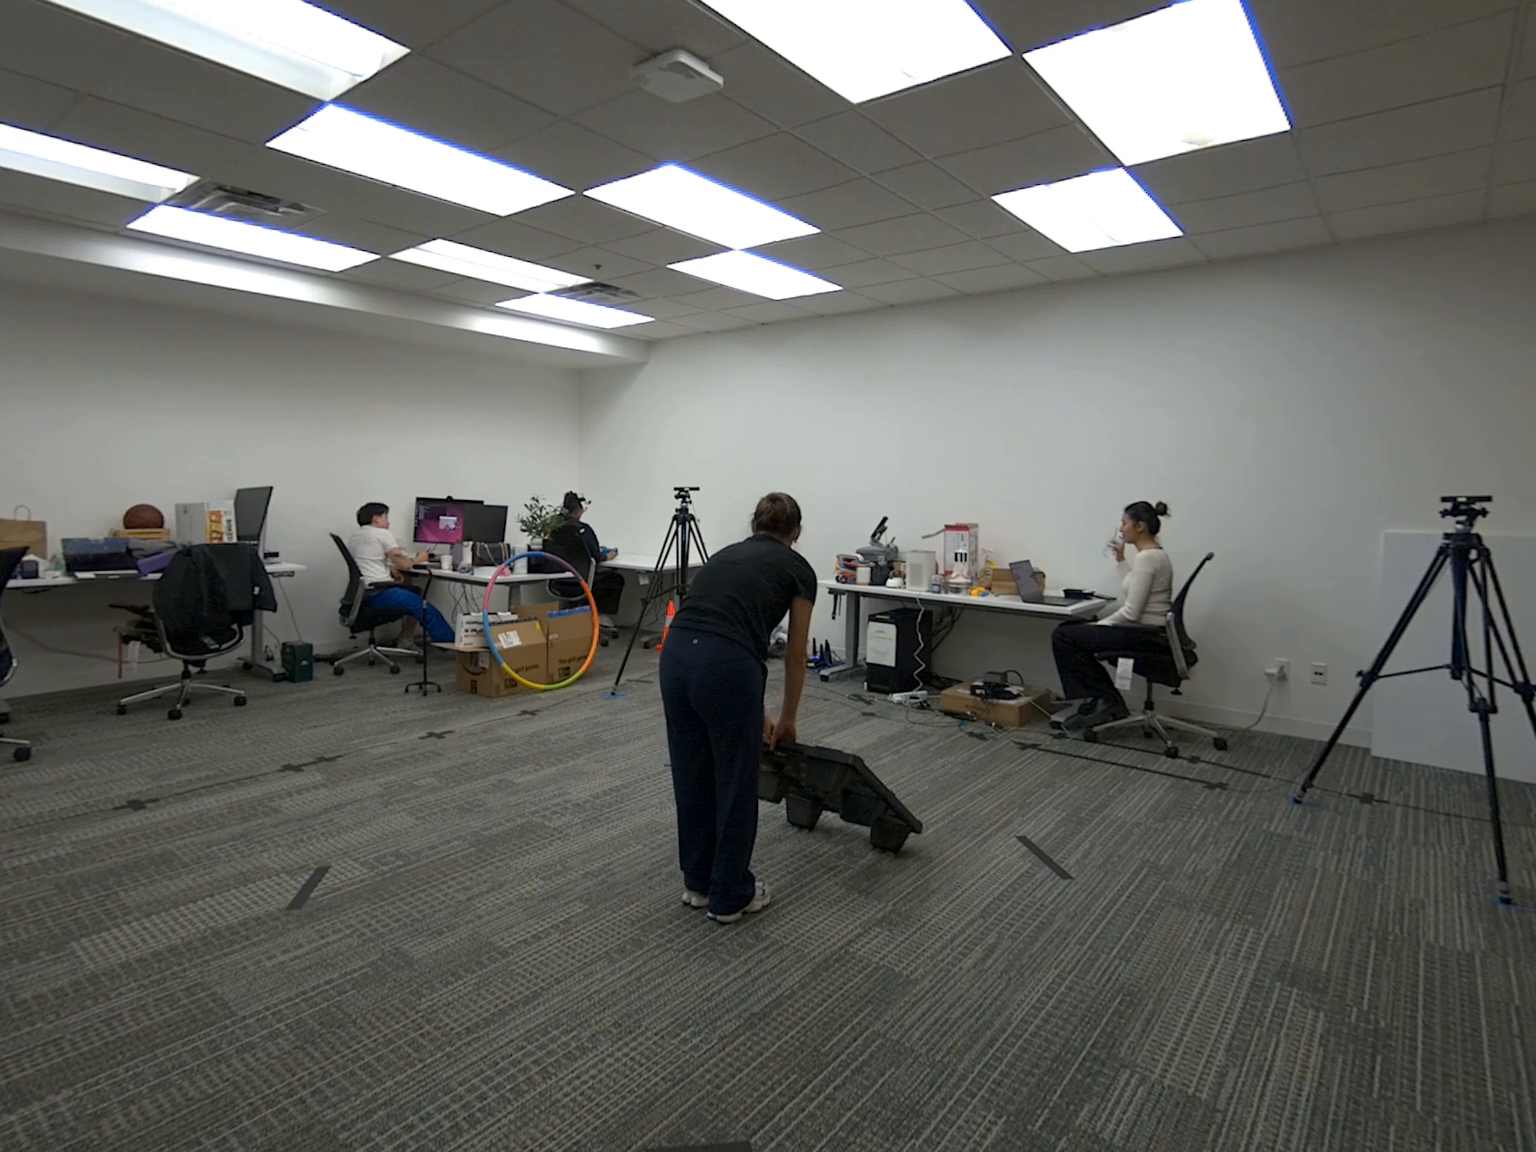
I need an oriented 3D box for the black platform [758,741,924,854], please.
[{"bbox_3d":[0.179,0.805,3.182,0.624,0.145,0.772,4,-30,33],"label":"black platform"}]
